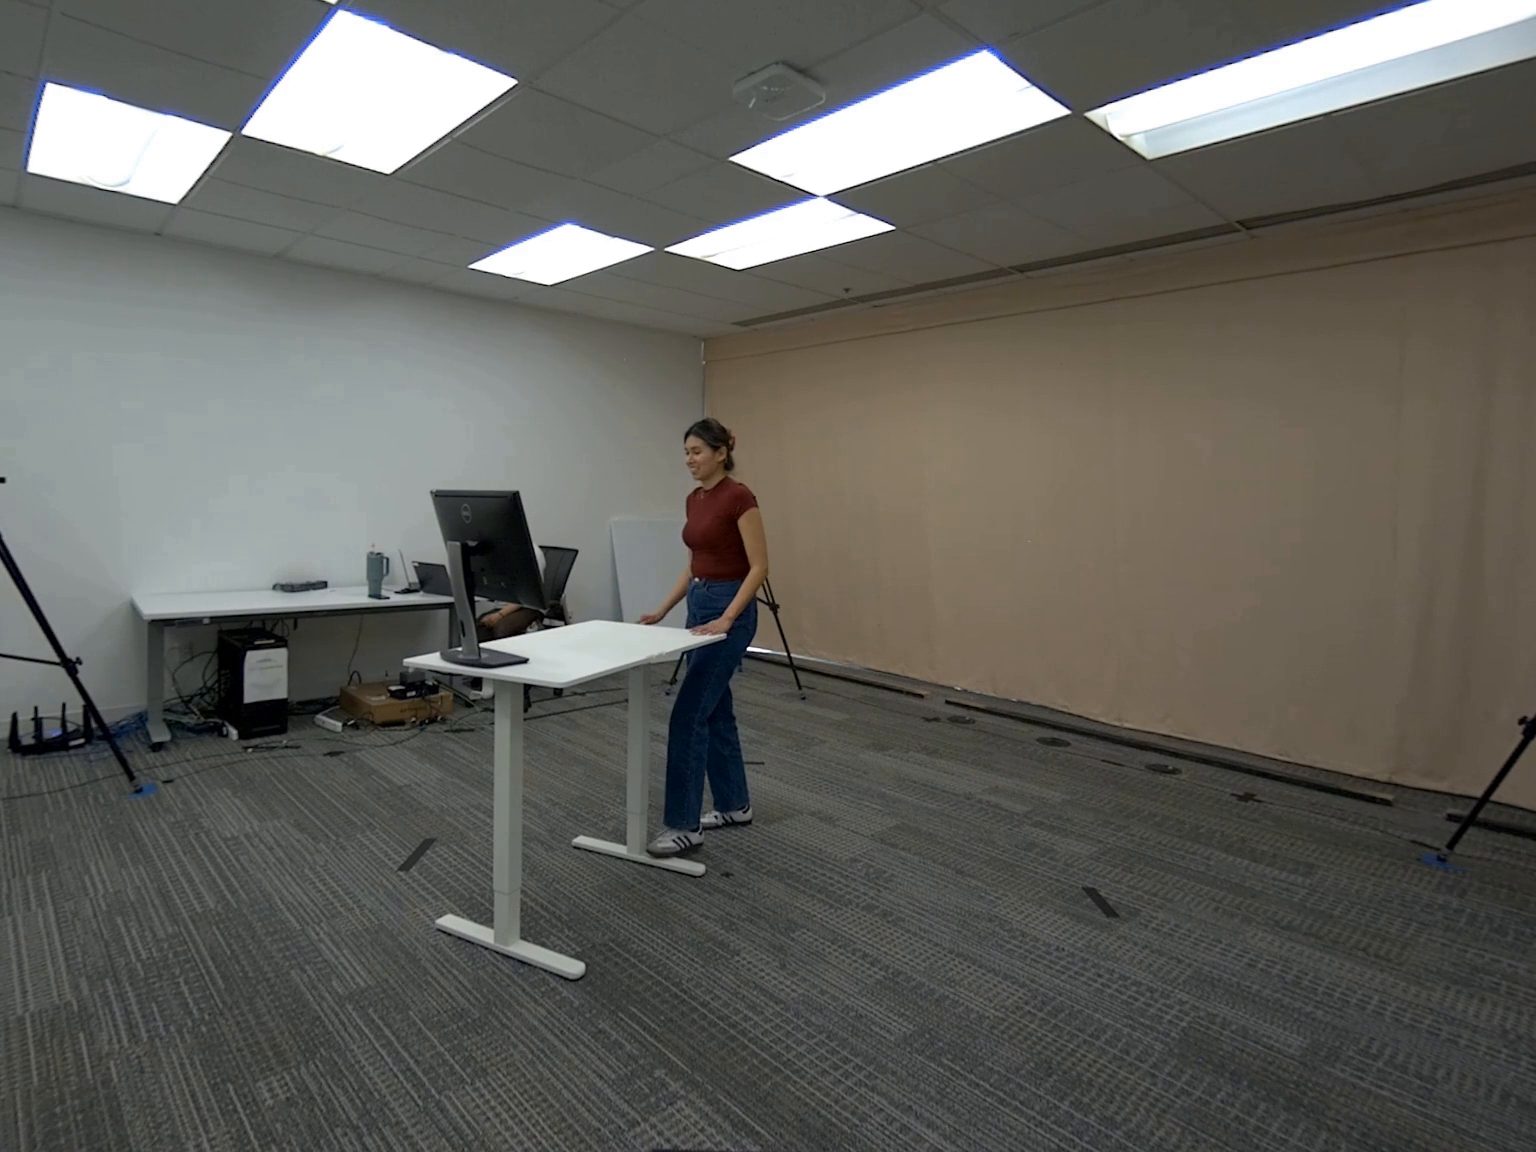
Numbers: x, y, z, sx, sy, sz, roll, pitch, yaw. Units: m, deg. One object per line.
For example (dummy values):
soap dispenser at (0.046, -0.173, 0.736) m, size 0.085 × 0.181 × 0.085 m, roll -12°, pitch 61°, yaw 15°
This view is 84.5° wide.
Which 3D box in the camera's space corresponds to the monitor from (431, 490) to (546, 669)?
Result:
monitor at (-0.883, 0.006, 2.524) m, size 0.553 × 0.521 × 0.183 m, roll 5°, pitch 7°, yaw 42°
